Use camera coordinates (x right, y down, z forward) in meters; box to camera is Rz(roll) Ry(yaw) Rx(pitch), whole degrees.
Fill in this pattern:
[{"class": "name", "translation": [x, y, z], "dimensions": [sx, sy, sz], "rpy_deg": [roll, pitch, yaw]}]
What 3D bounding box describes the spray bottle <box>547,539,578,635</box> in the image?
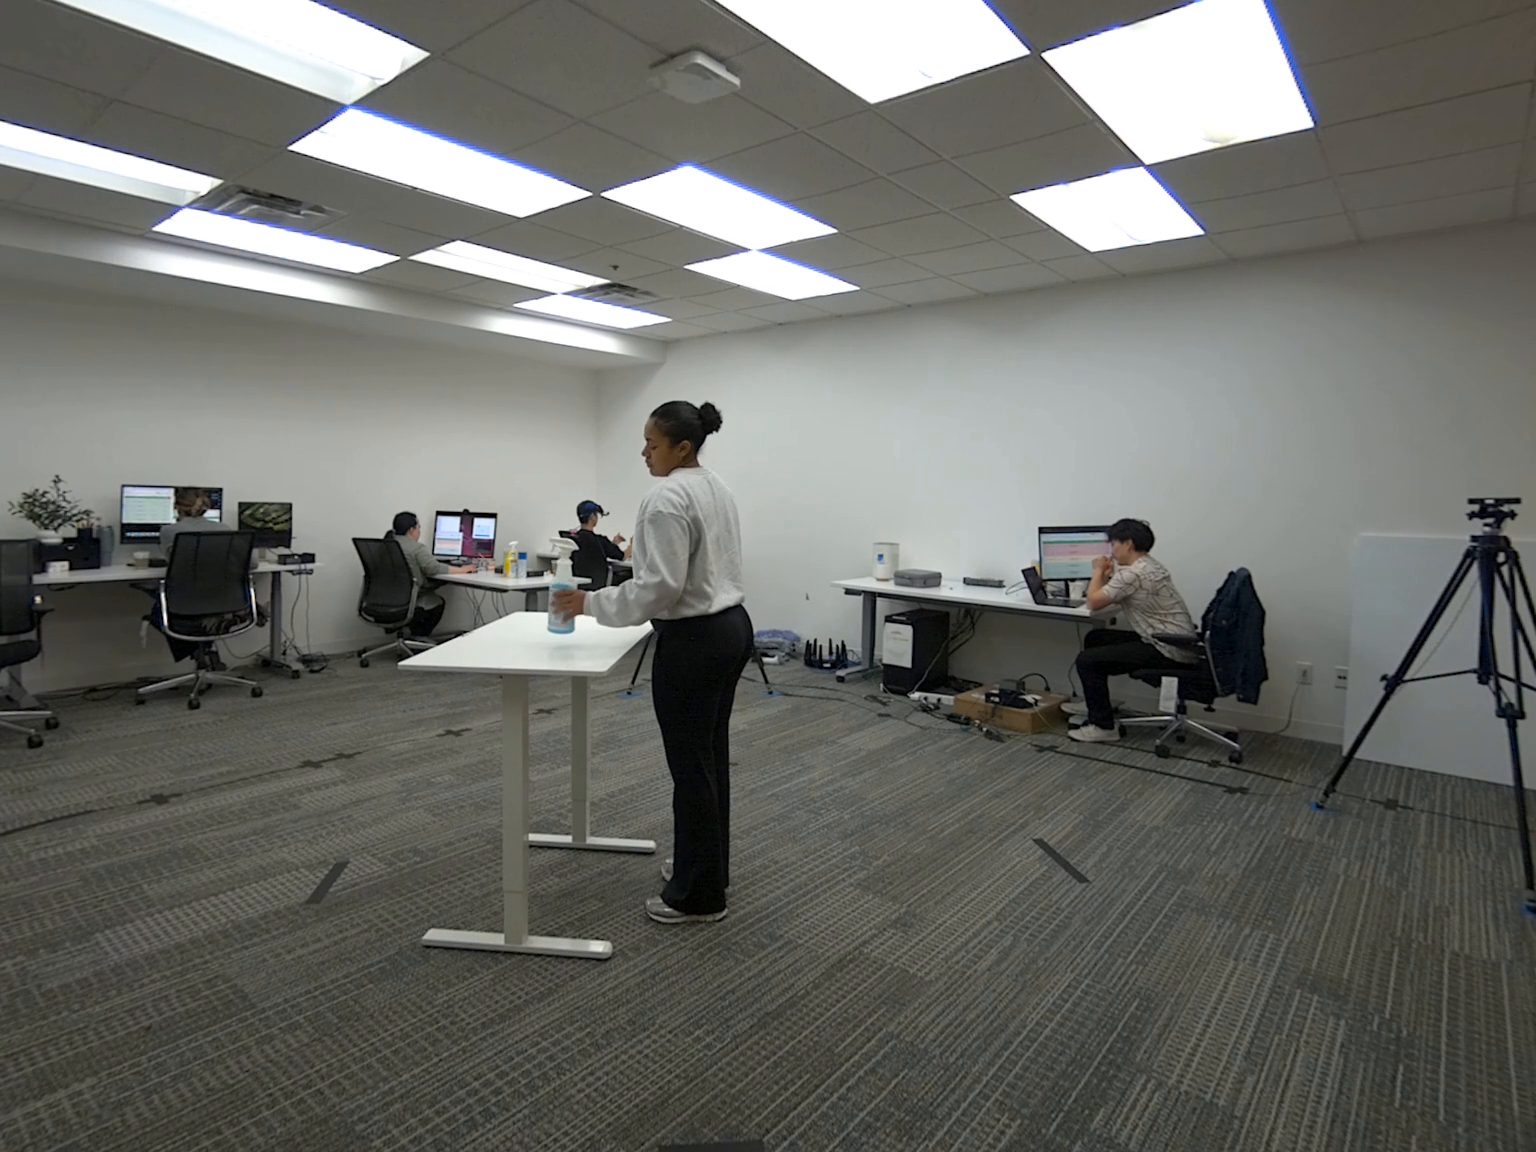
[{"class": "spray bottle", "translation": [-0.661, 0.035, 2.668], "dimensions": [0.092, 0.295, 0.085], "rpy_deg": [7, 8, 22]}]
